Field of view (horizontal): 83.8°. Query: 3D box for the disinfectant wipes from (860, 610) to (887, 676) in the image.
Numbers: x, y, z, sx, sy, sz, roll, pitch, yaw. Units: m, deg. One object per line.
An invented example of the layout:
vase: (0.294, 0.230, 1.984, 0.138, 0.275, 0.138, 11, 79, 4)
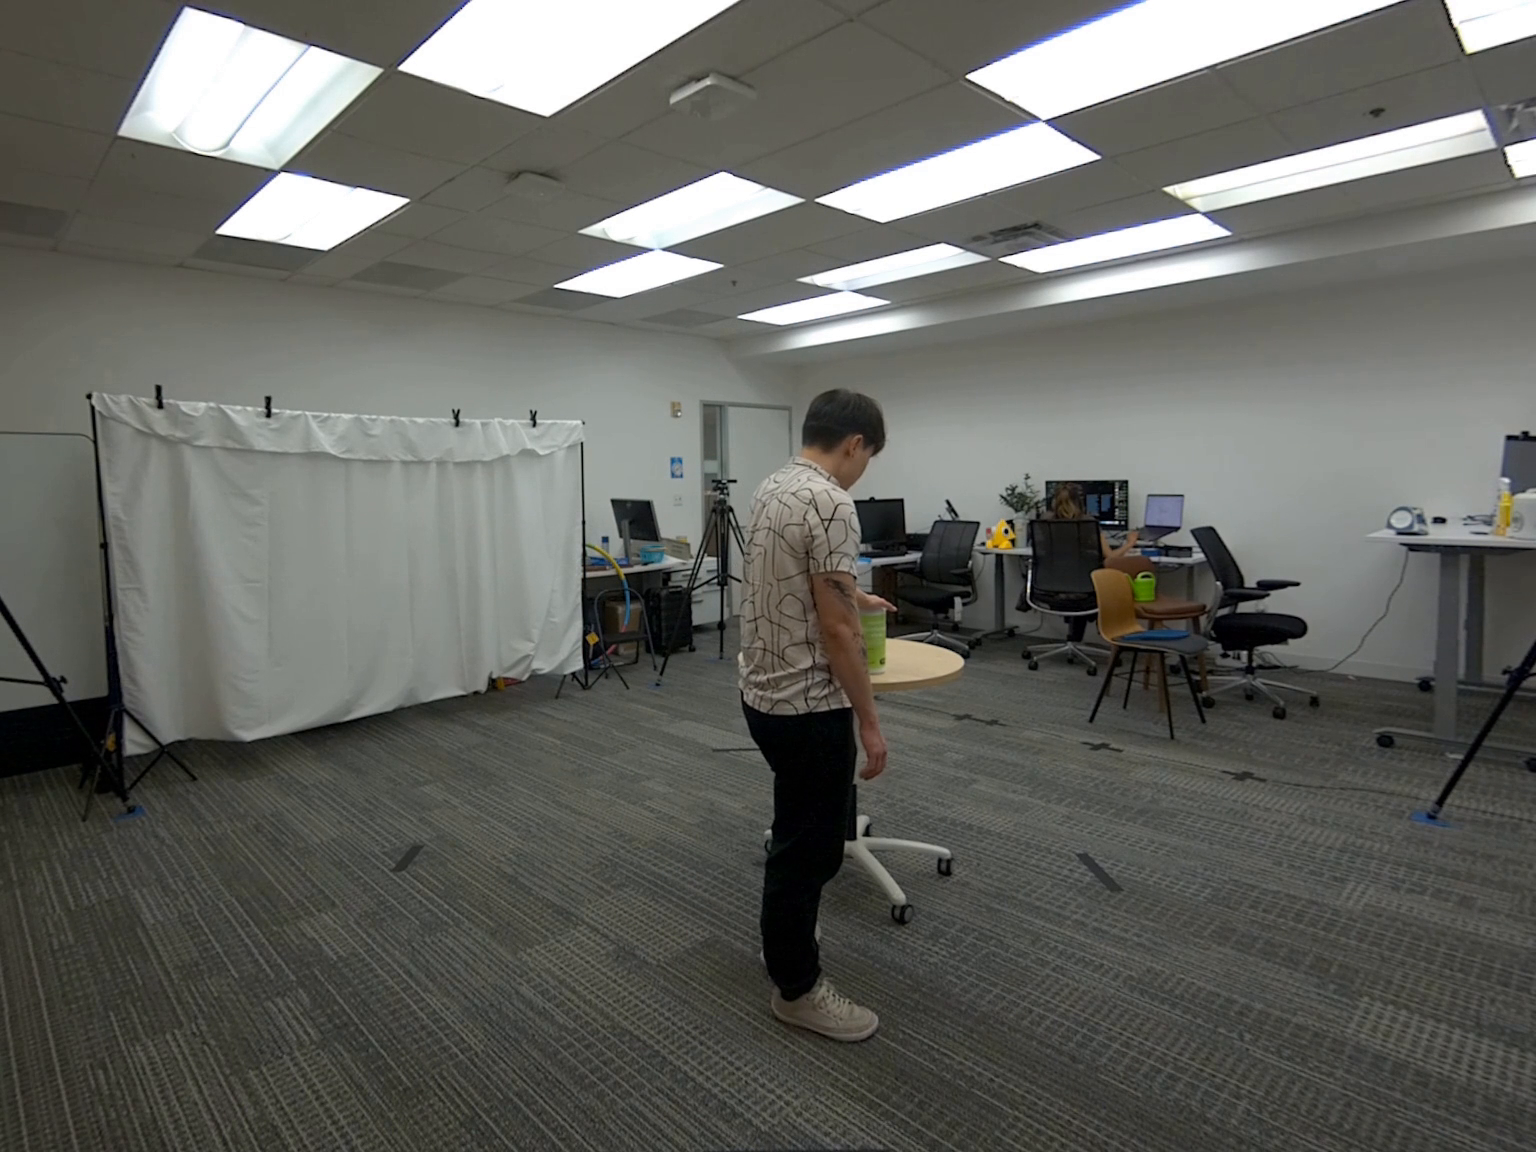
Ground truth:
disinfectant wipes: (0.327, 0.202, 2.718, 0.118, 0.217, 0.118, -1, 2, -2)
